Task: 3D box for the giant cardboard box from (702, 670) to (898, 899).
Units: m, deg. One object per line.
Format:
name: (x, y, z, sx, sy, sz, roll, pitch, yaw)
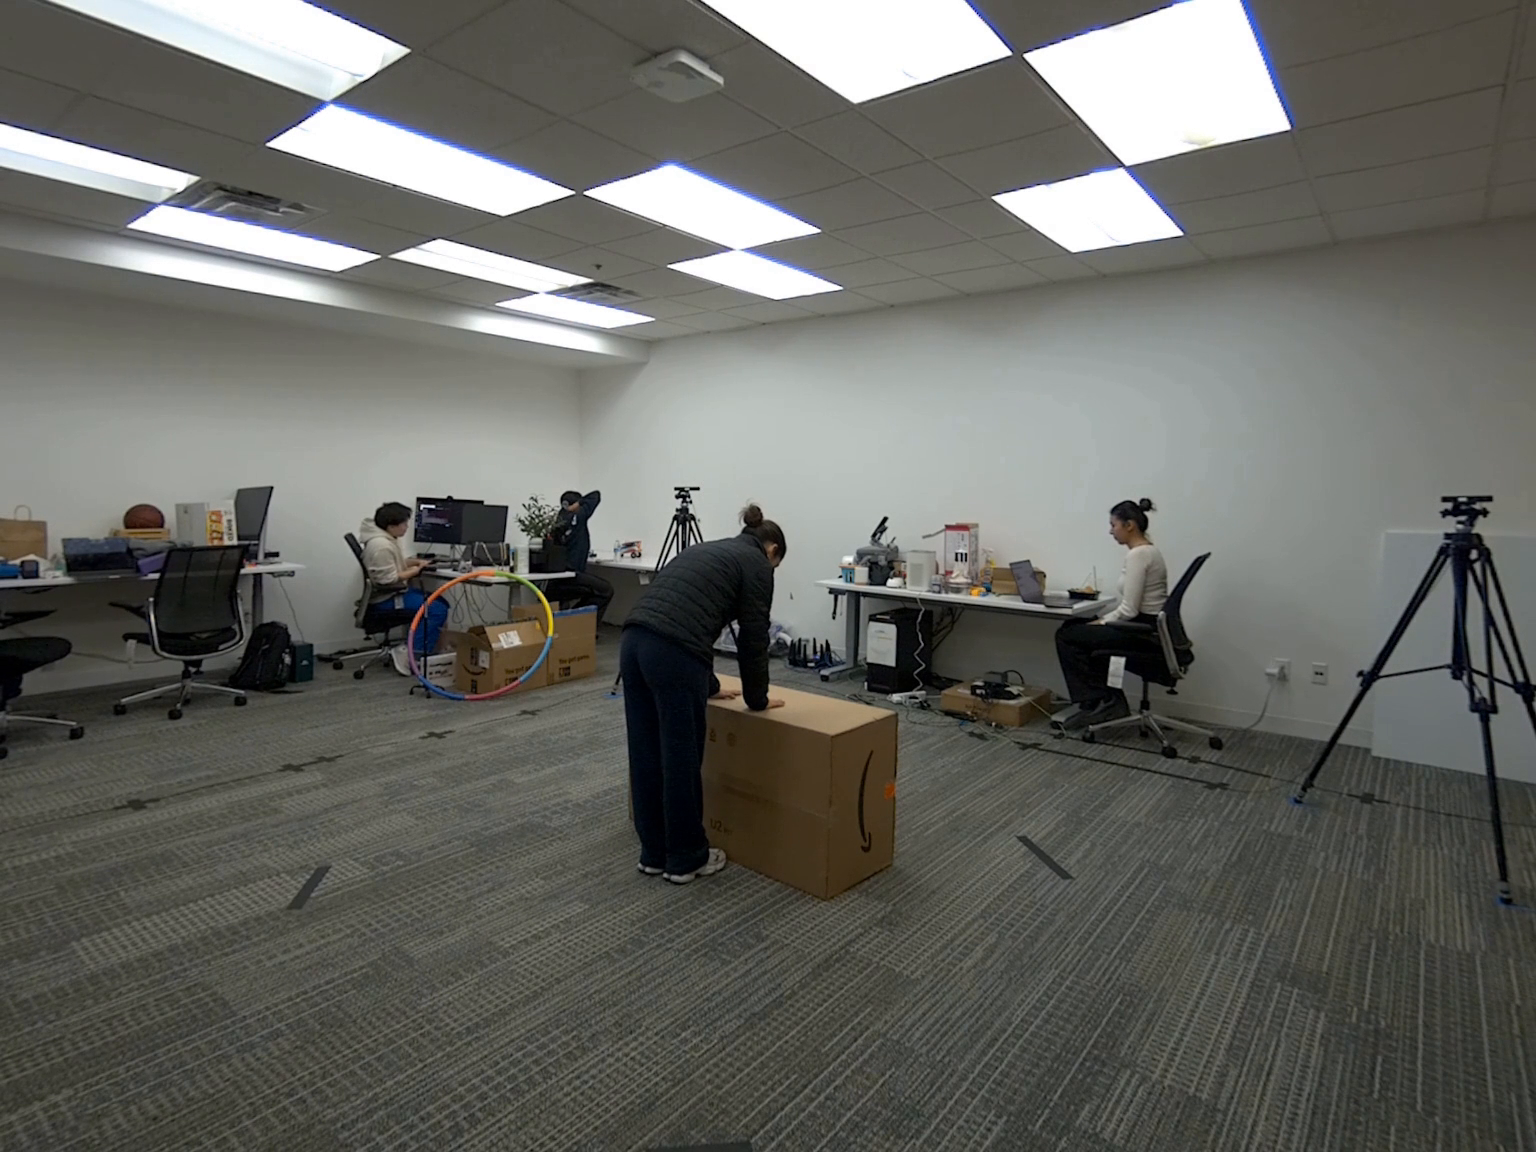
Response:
giant cardboard box: (-0.032, 0.759, 3.372, 1.062, 0.581, 0.434, 6, 7, 43)
